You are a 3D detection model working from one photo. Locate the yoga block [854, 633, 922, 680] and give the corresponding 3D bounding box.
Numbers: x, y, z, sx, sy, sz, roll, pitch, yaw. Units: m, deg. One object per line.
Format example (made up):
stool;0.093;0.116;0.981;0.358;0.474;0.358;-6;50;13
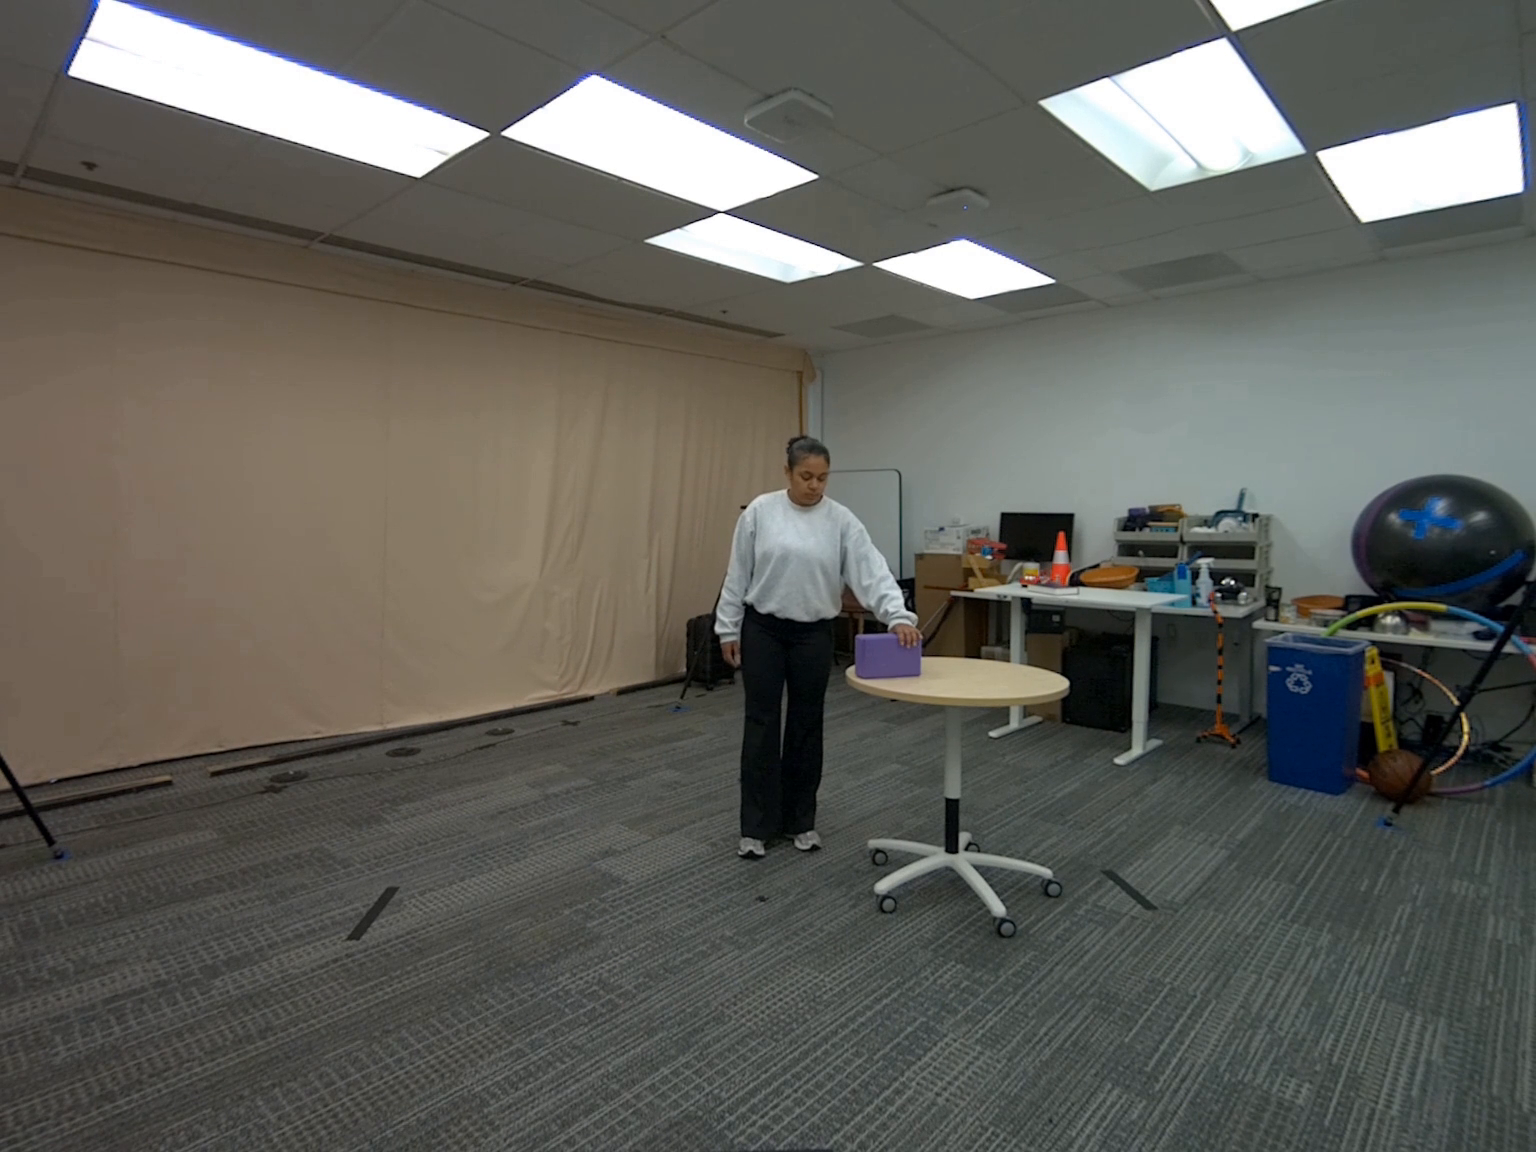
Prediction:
yoga block;0.429;0.282;2.994;0.226;0.148;0.078;0;5;-14
